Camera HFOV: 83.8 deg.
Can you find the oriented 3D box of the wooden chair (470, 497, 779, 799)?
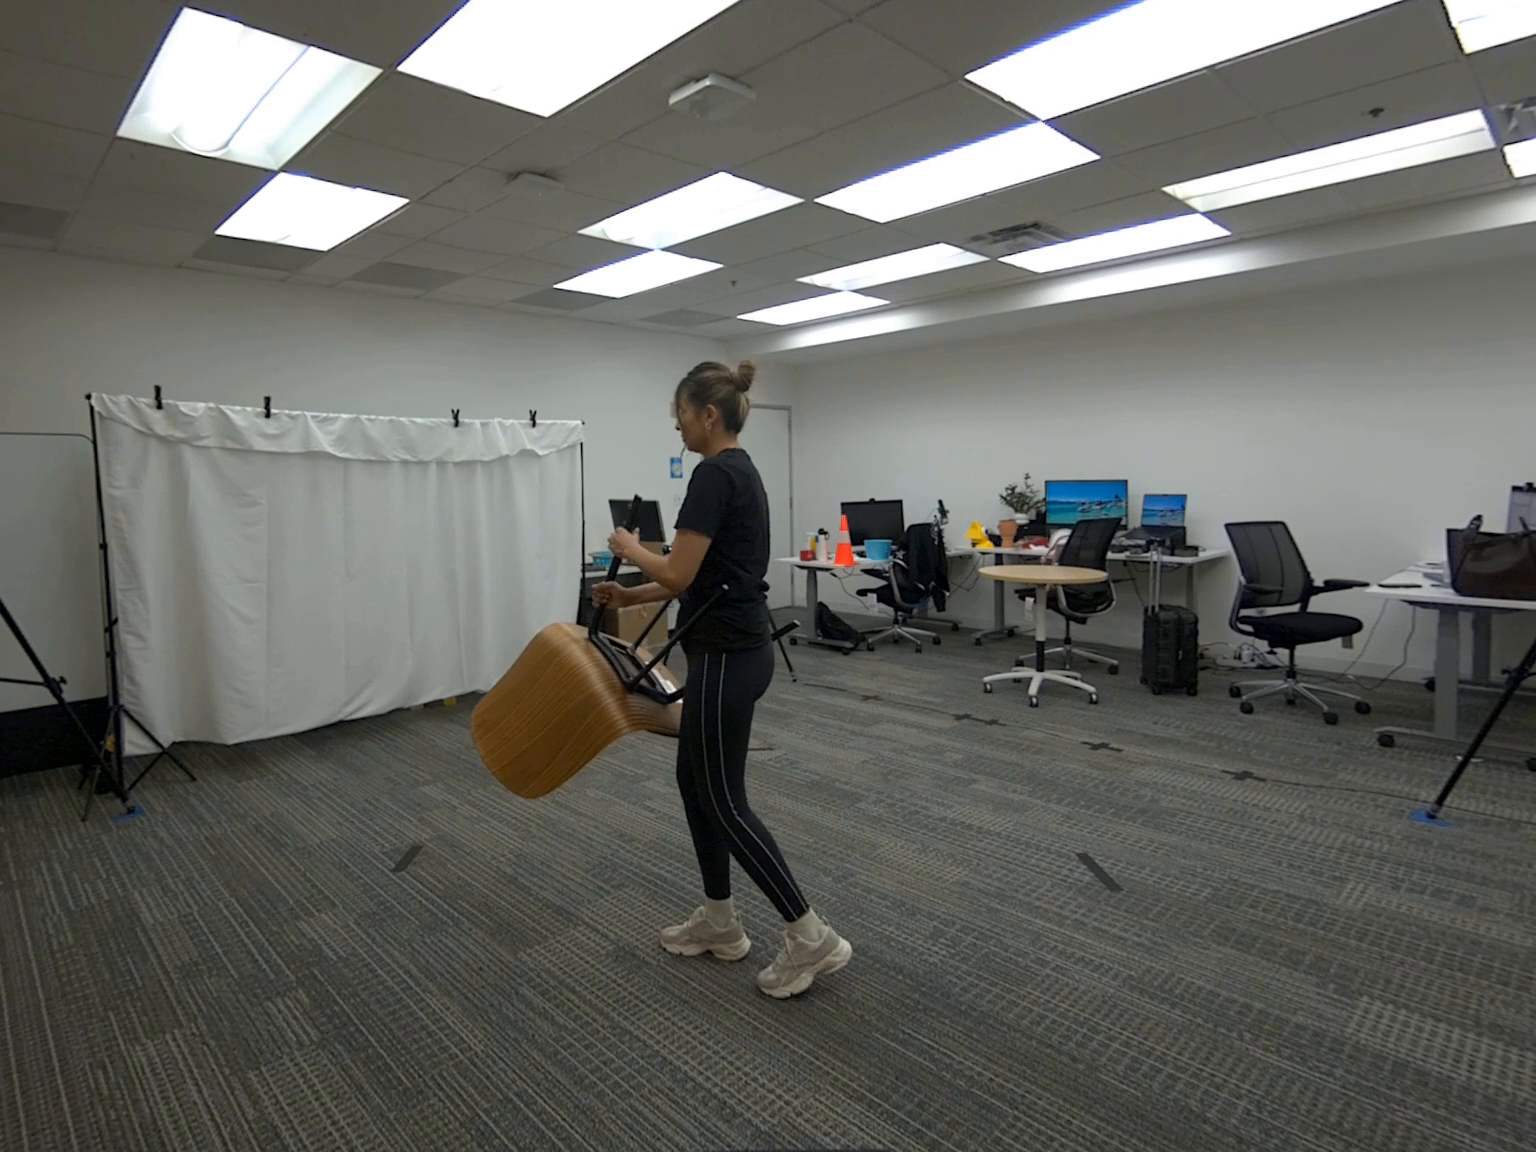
[{"bbox_3d":[-0.411,0.274,2.609,0.496,0.877,0.504,44,4,33],"label":"wooden chair"}]
